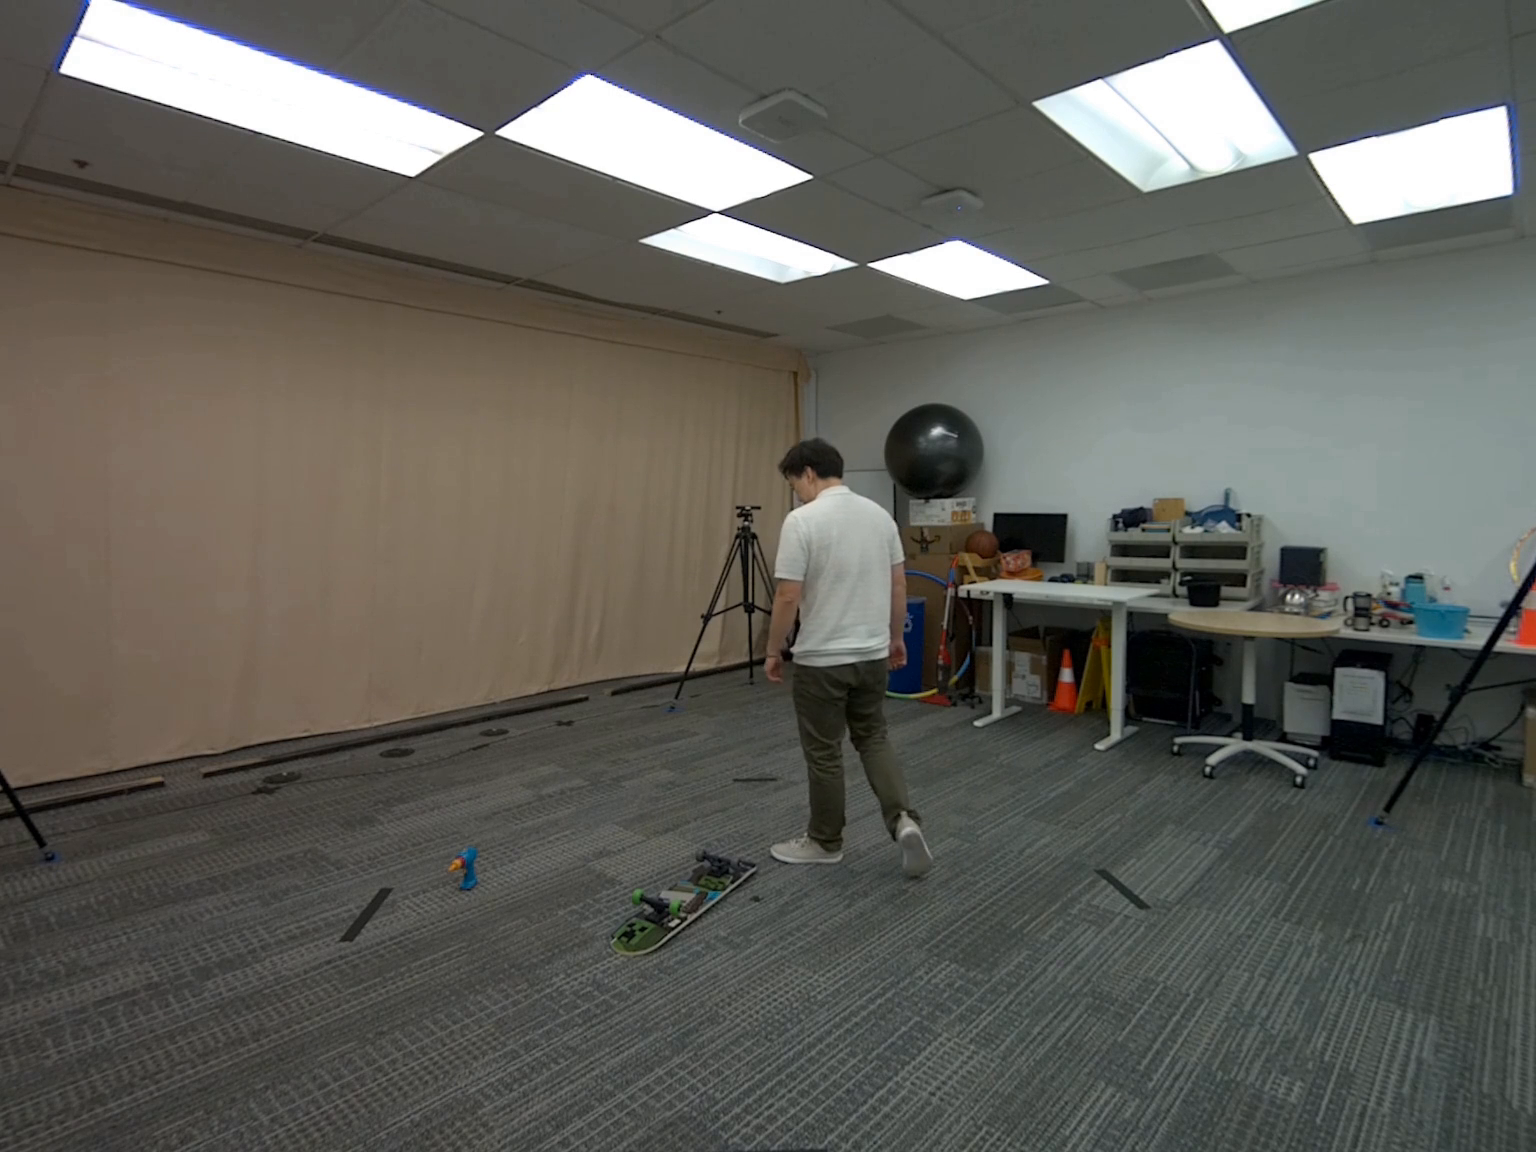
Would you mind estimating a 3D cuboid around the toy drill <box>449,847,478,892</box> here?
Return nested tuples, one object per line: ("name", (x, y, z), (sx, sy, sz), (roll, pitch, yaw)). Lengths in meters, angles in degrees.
("toy drill", (-1.103, 1.071, 3.056), (0.061, 0.146, 0.169), (2, 4, 5))
